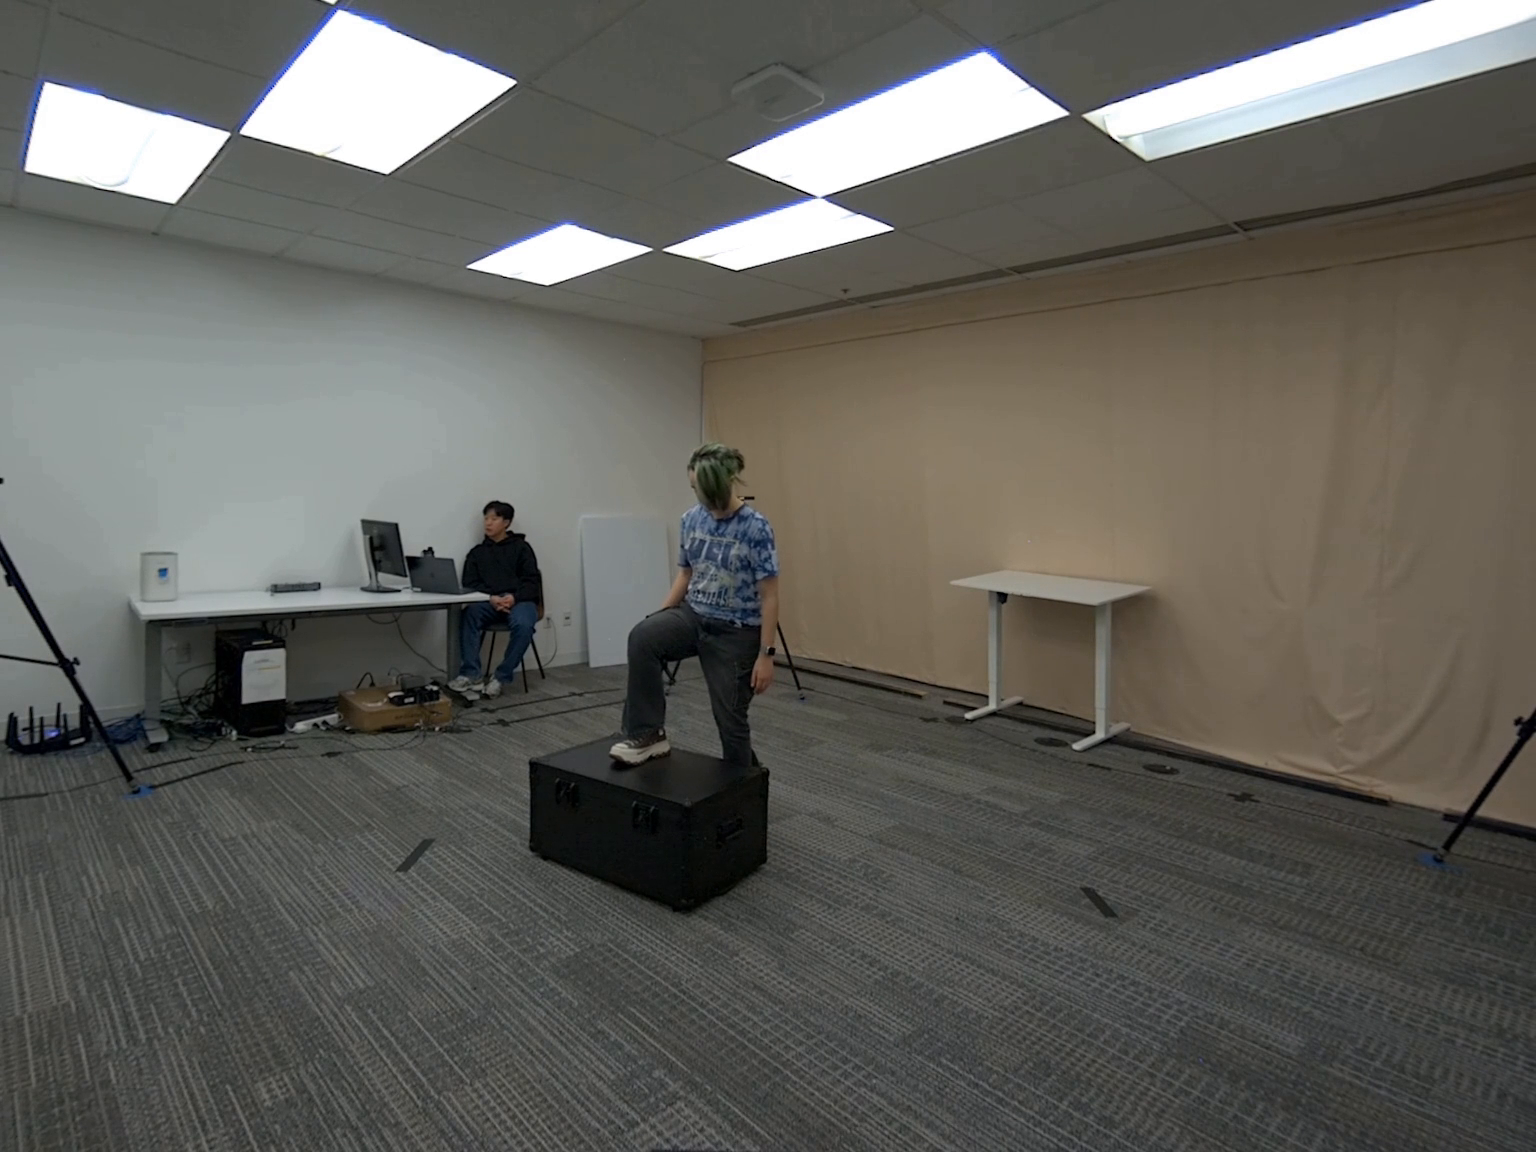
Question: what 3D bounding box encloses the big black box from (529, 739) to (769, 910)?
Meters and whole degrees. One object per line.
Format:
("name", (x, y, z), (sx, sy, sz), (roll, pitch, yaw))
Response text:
("big black box", (-0.490, 0.898, 3.203), (0.882, 0.395, 0.510), (5, 6, 34))
